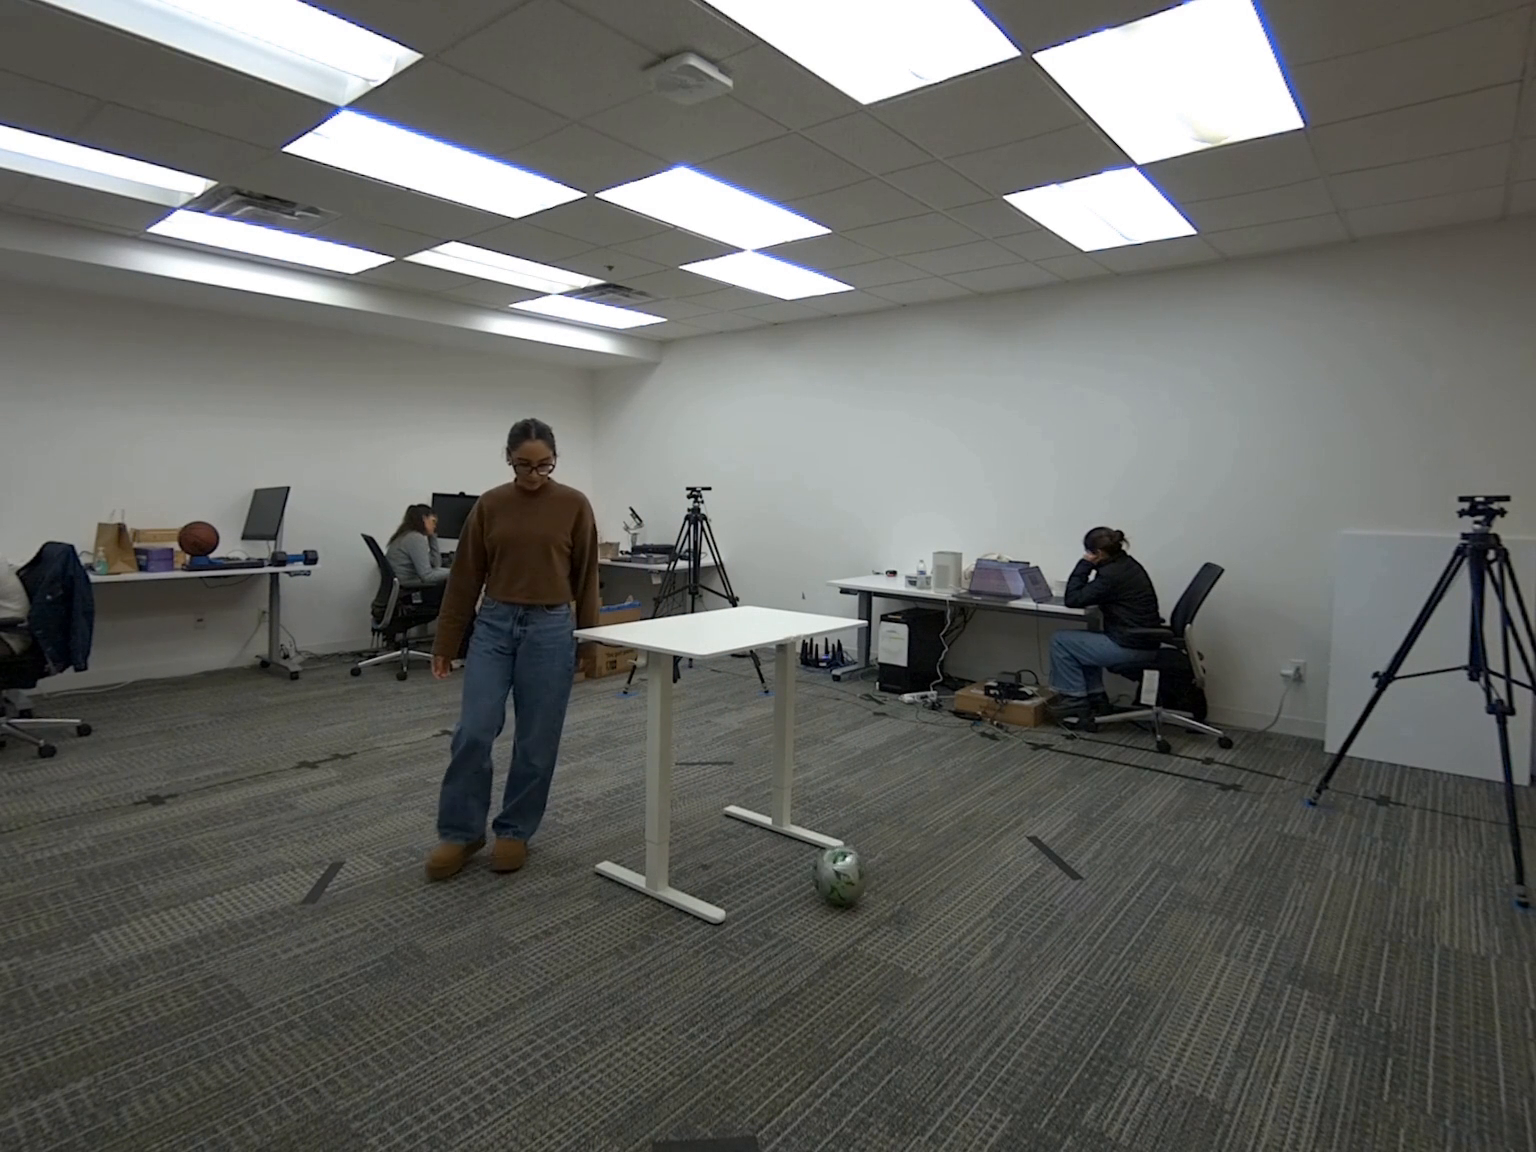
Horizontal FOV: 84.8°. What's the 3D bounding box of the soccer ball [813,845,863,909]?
[{"bbox_3d":[0.238,1.003,2.863,0.187,0.187,0.188,1,4,-2],"label":"soccer ball"}]
